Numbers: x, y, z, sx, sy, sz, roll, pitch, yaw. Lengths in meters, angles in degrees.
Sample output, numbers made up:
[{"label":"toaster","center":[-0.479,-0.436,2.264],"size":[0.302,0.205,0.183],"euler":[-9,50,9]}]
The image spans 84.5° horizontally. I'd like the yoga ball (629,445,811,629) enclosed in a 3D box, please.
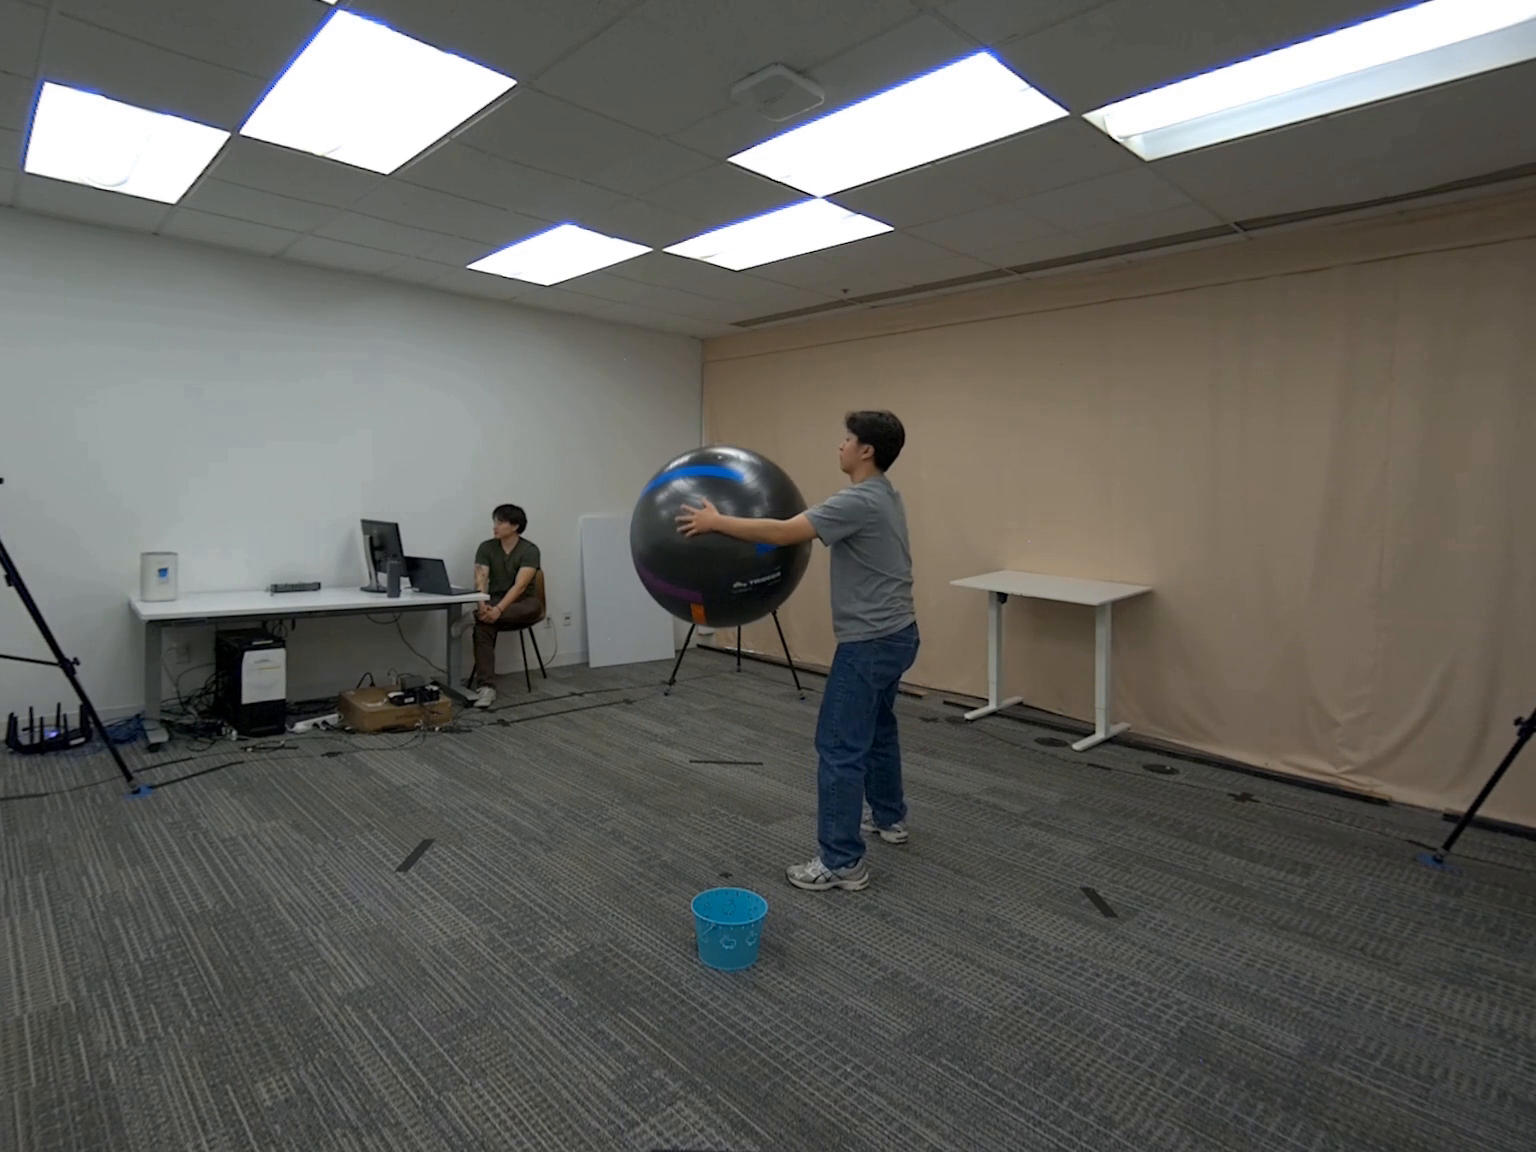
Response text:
[{"label":"yoga ball","center":[-0.194,-0.152,3.522],"size":[0.757,0.756,0.761],"euler":[1,4,-1]}]
